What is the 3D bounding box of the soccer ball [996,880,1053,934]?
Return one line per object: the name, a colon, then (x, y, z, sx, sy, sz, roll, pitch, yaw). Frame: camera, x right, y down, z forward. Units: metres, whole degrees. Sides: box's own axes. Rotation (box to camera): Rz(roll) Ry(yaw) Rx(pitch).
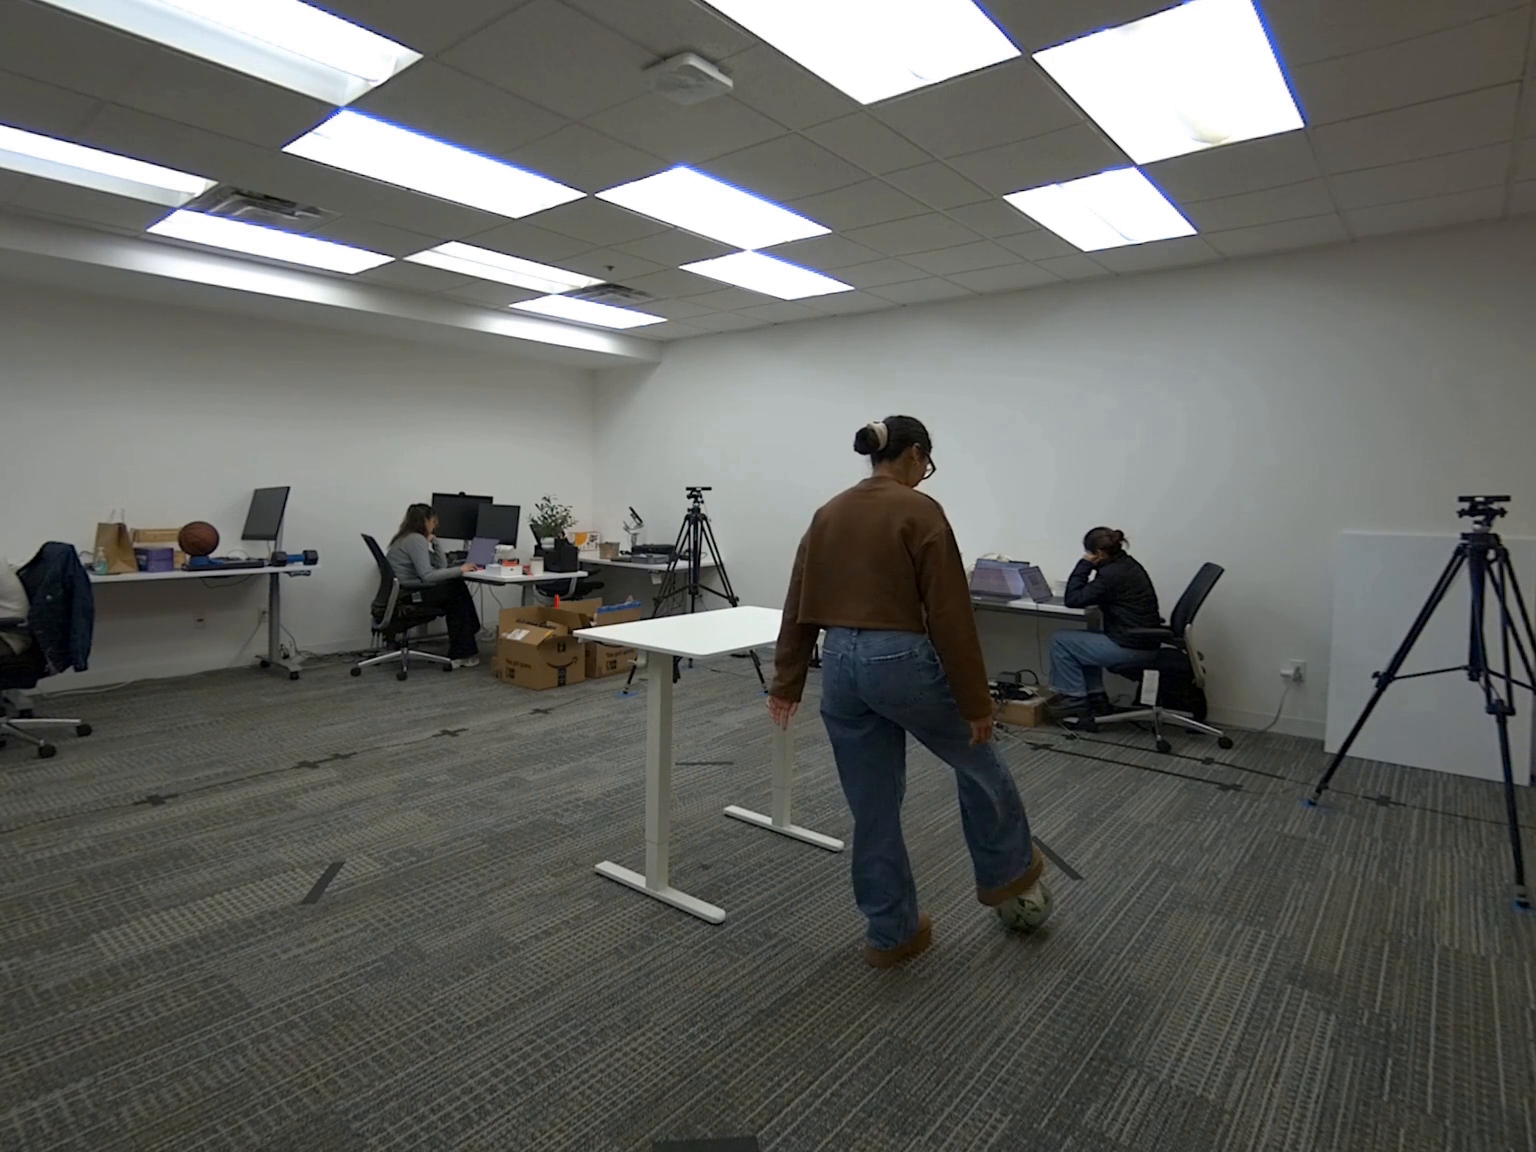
soccer ball: (0.799, 1.033, 2.734, 0.187, 0.187, 0.188, 1, 4, -2)
